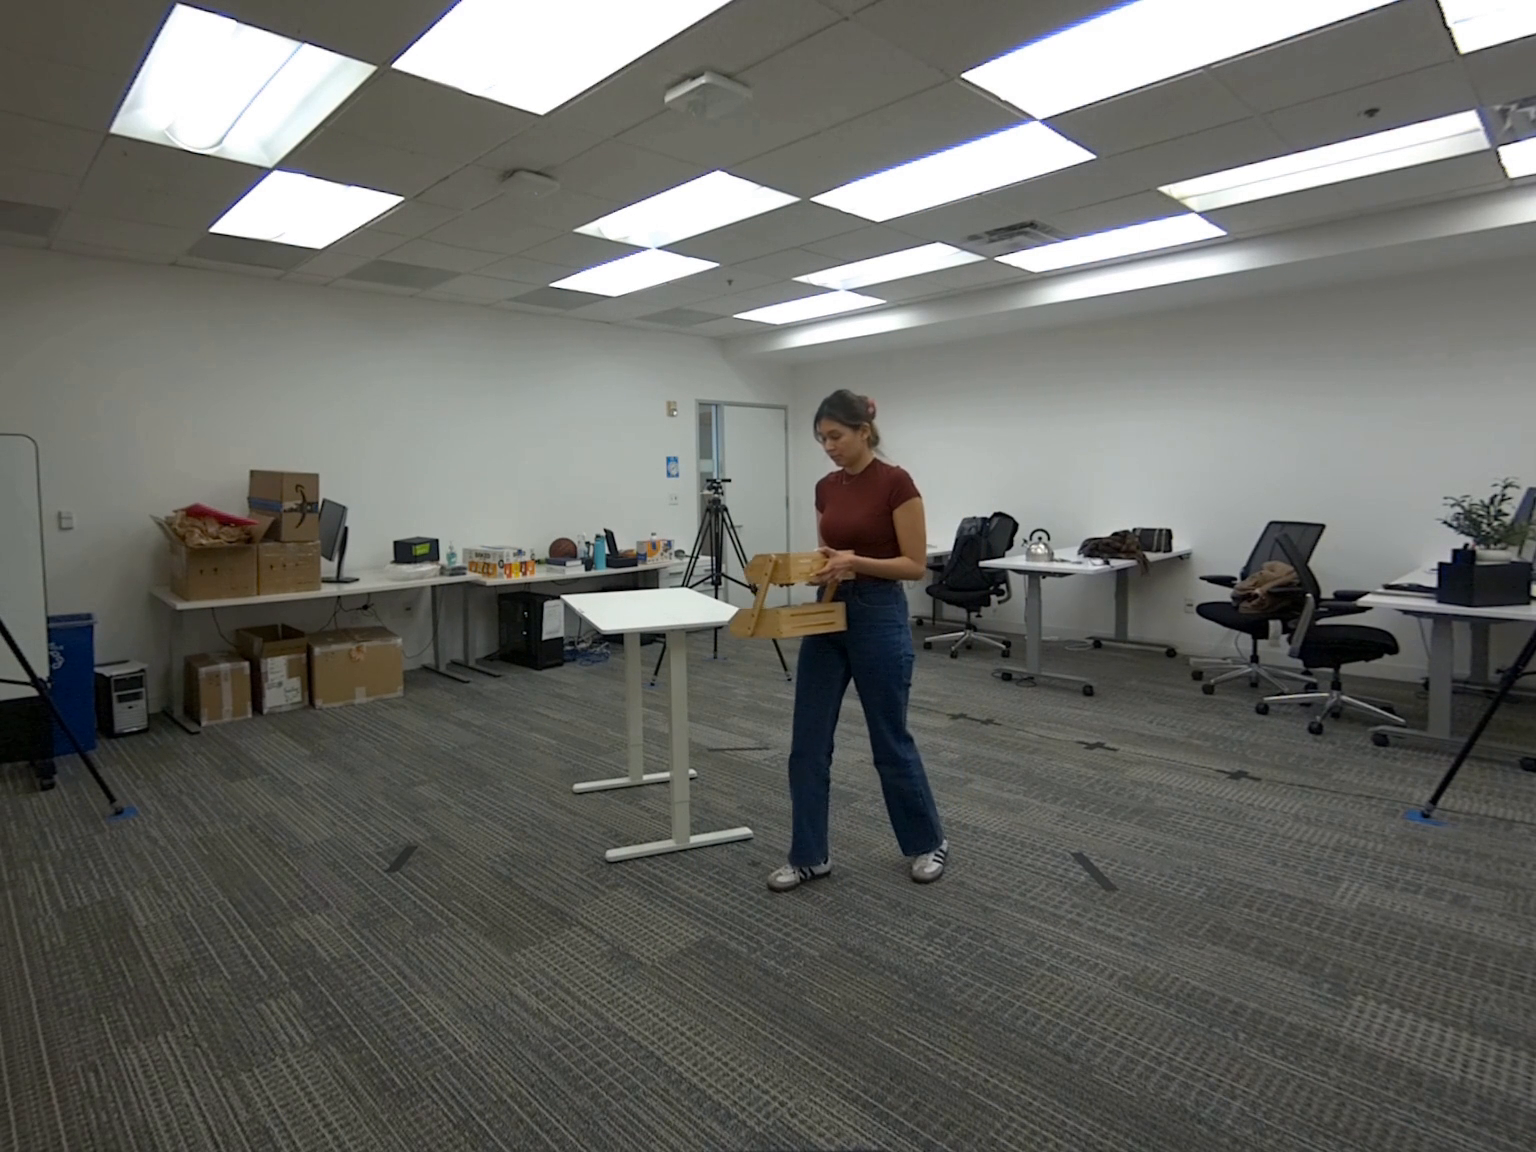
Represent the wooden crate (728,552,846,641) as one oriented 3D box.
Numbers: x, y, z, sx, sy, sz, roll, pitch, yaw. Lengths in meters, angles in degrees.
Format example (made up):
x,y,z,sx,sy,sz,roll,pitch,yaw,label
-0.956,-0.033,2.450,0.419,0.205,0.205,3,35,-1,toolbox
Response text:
x,y,z,sx,sy,sz,roll,pitch,yaw,label
0.067,0.047,2.784,0.315,0.273,0.310,-2,0,-43,wooden crate
